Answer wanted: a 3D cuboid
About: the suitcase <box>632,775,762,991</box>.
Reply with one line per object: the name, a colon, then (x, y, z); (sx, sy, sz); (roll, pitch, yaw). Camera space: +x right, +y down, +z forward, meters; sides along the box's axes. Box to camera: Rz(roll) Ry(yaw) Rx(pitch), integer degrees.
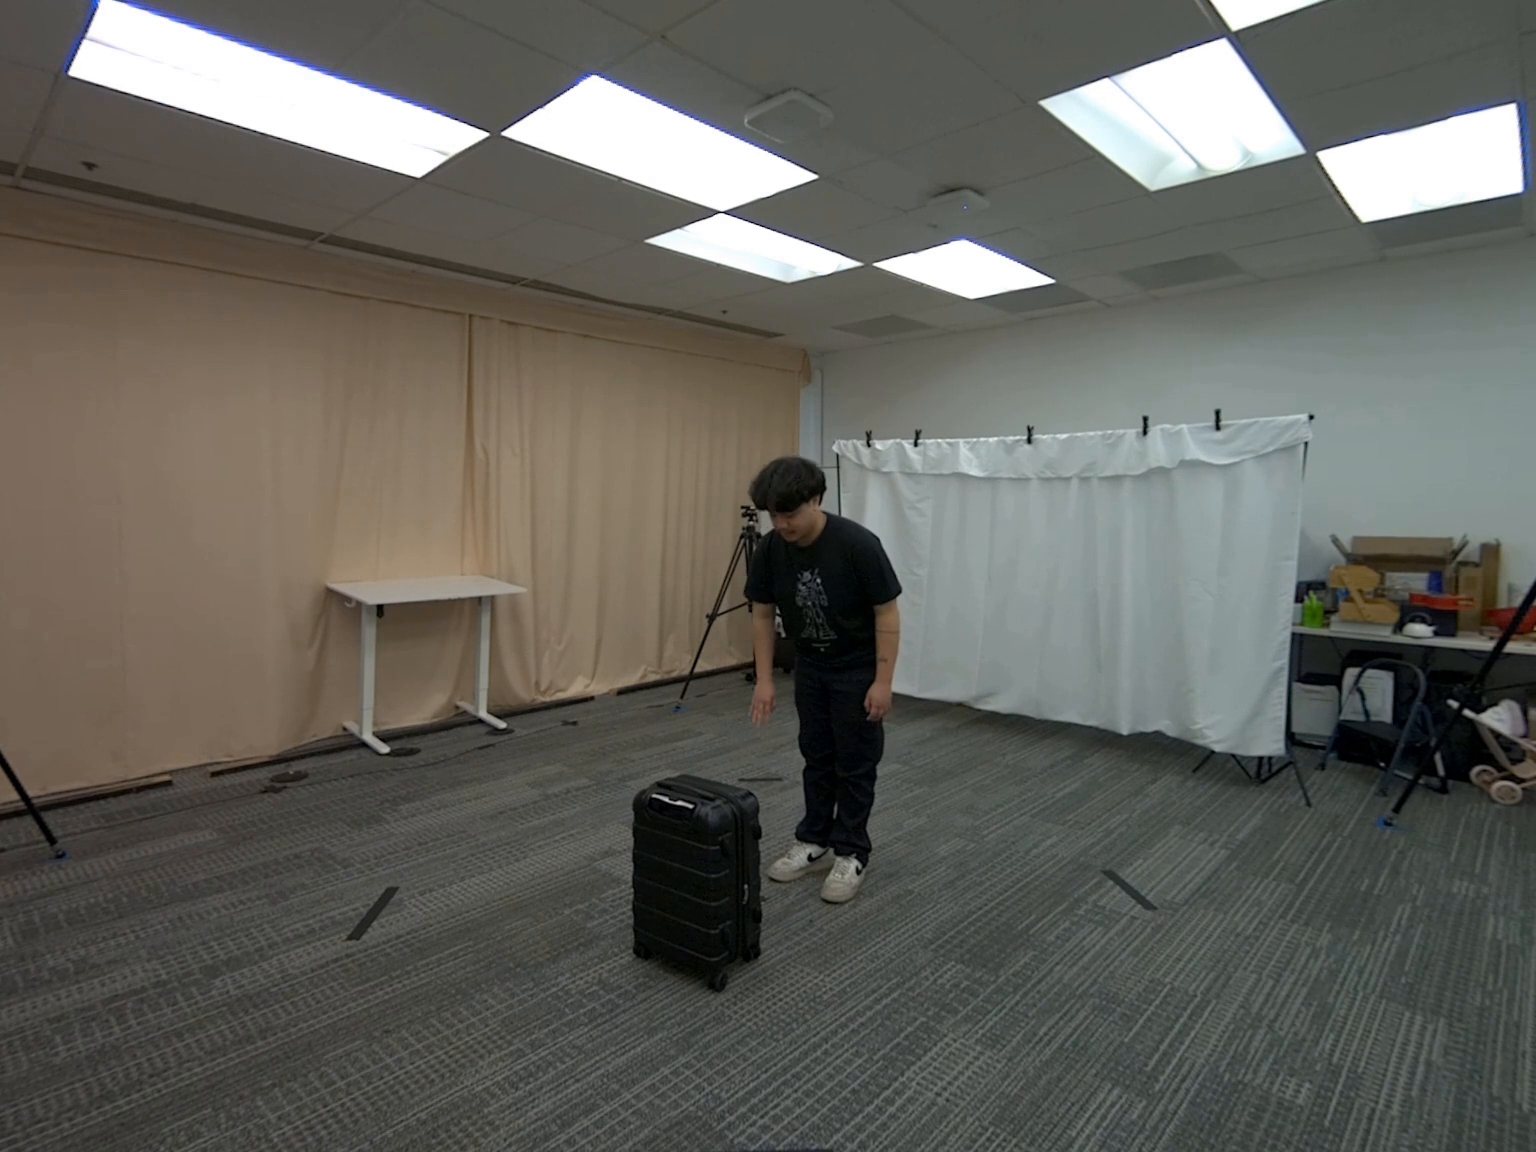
suitcase: (-0.220, 0.904, 2.568); (0.387, 0.548, 0.241); (2, 4, 36)
